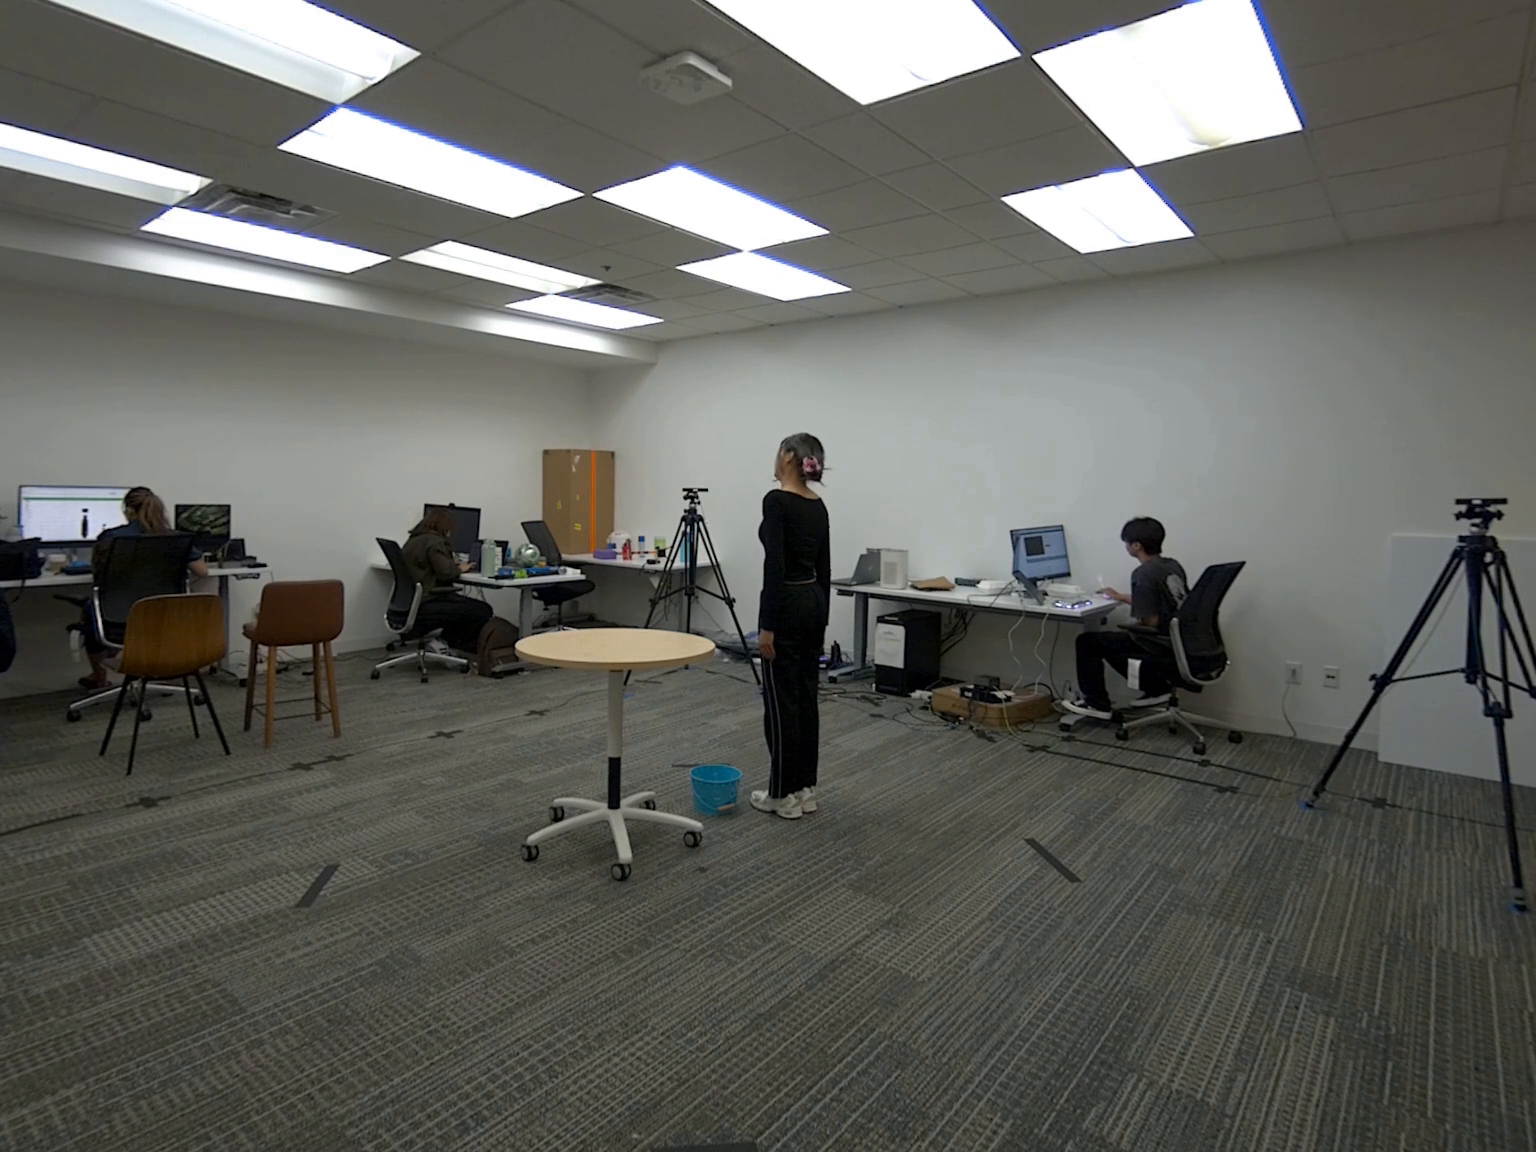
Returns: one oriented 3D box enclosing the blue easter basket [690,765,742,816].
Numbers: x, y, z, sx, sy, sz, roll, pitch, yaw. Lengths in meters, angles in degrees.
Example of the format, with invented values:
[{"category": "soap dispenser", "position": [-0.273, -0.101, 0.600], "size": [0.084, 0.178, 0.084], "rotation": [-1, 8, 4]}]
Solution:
[{"category": "blue easter basket", "position": [-0.240, 0.937, 3.729], "size": [0.243, 0.155, 0.245], "rotation": [1, 5, -2]}]
